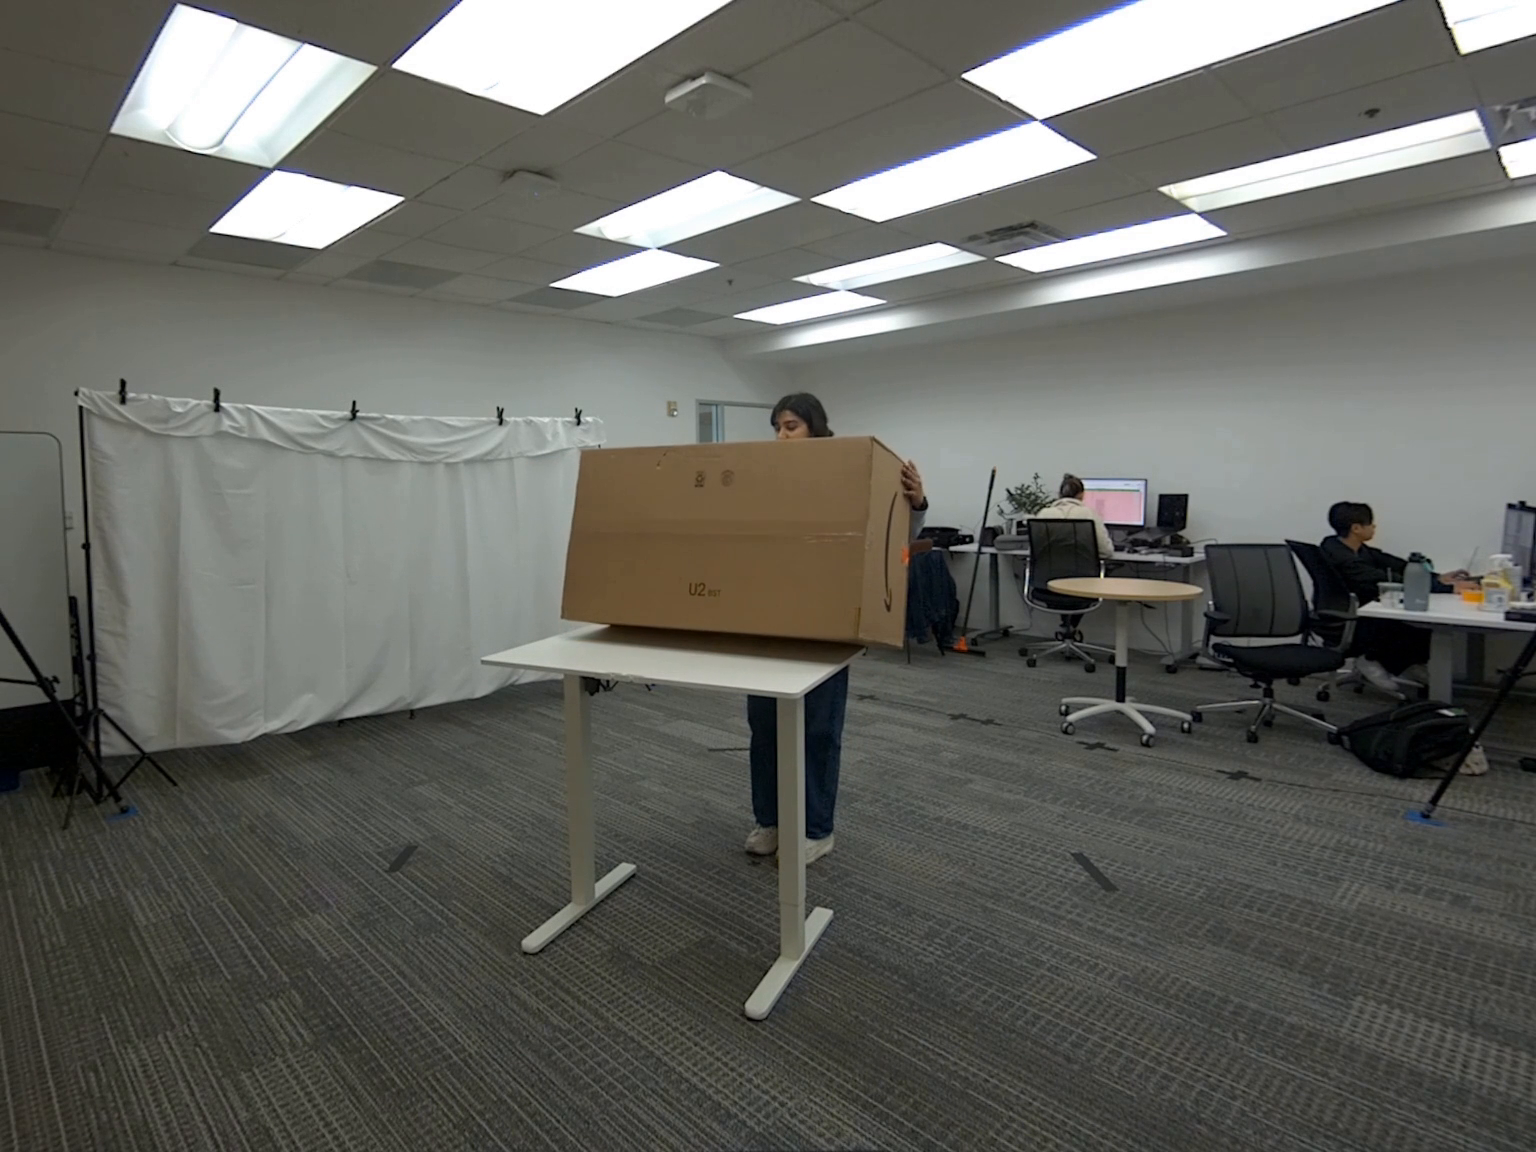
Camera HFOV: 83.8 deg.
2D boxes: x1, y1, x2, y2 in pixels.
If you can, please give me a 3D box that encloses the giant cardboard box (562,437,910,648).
[{"bbox_3d":[-0.108,-0.099,2.757,1.051,0.581,0.413,2,-9,28],"label":"giant cardboard box"}]
